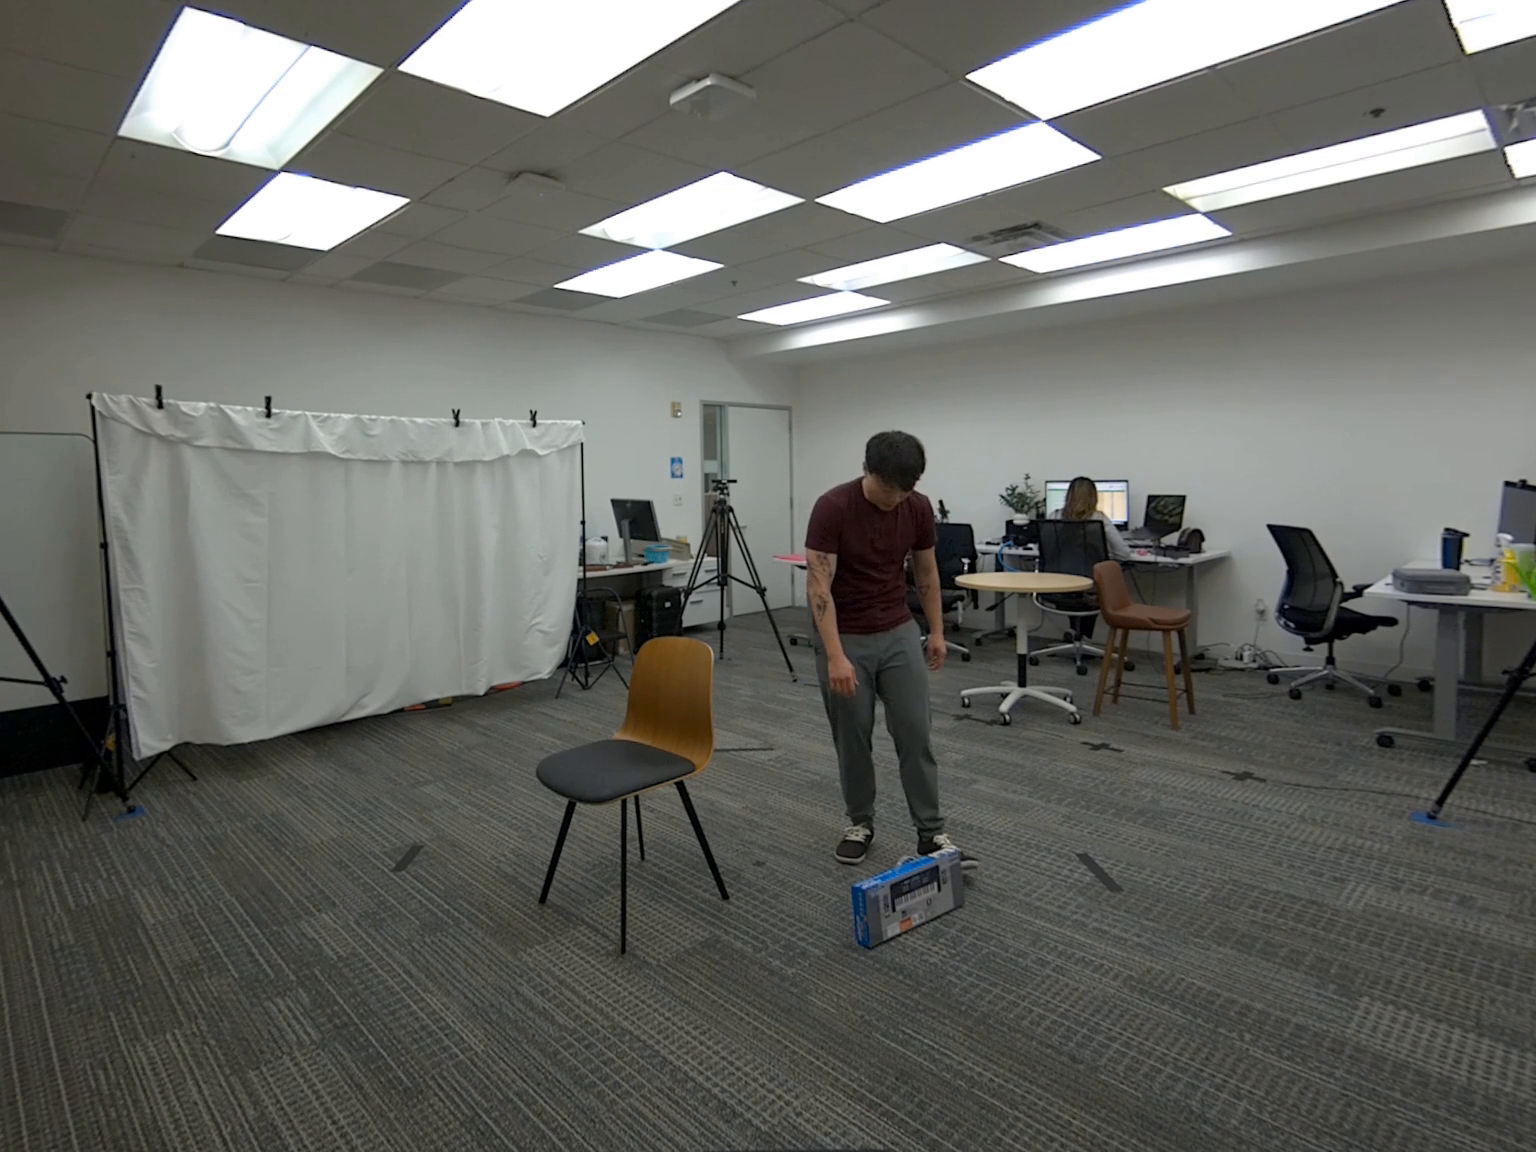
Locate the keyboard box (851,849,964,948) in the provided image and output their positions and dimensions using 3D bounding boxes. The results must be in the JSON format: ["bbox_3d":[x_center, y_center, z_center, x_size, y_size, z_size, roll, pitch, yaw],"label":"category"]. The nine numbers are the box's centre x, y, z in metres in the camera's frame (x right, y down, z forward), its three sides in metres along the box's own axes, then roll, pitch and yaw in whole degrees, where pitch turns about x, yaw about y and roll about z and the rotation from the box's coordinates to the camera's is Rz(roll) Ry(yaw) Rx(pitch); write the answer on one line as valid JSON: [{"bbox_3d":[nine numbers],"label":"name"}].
[{"bbox_3d":[0.445,0.998,2.674,0.426,0.176,0.060,-5,-2,-36],"label":"keyboard box"}]
